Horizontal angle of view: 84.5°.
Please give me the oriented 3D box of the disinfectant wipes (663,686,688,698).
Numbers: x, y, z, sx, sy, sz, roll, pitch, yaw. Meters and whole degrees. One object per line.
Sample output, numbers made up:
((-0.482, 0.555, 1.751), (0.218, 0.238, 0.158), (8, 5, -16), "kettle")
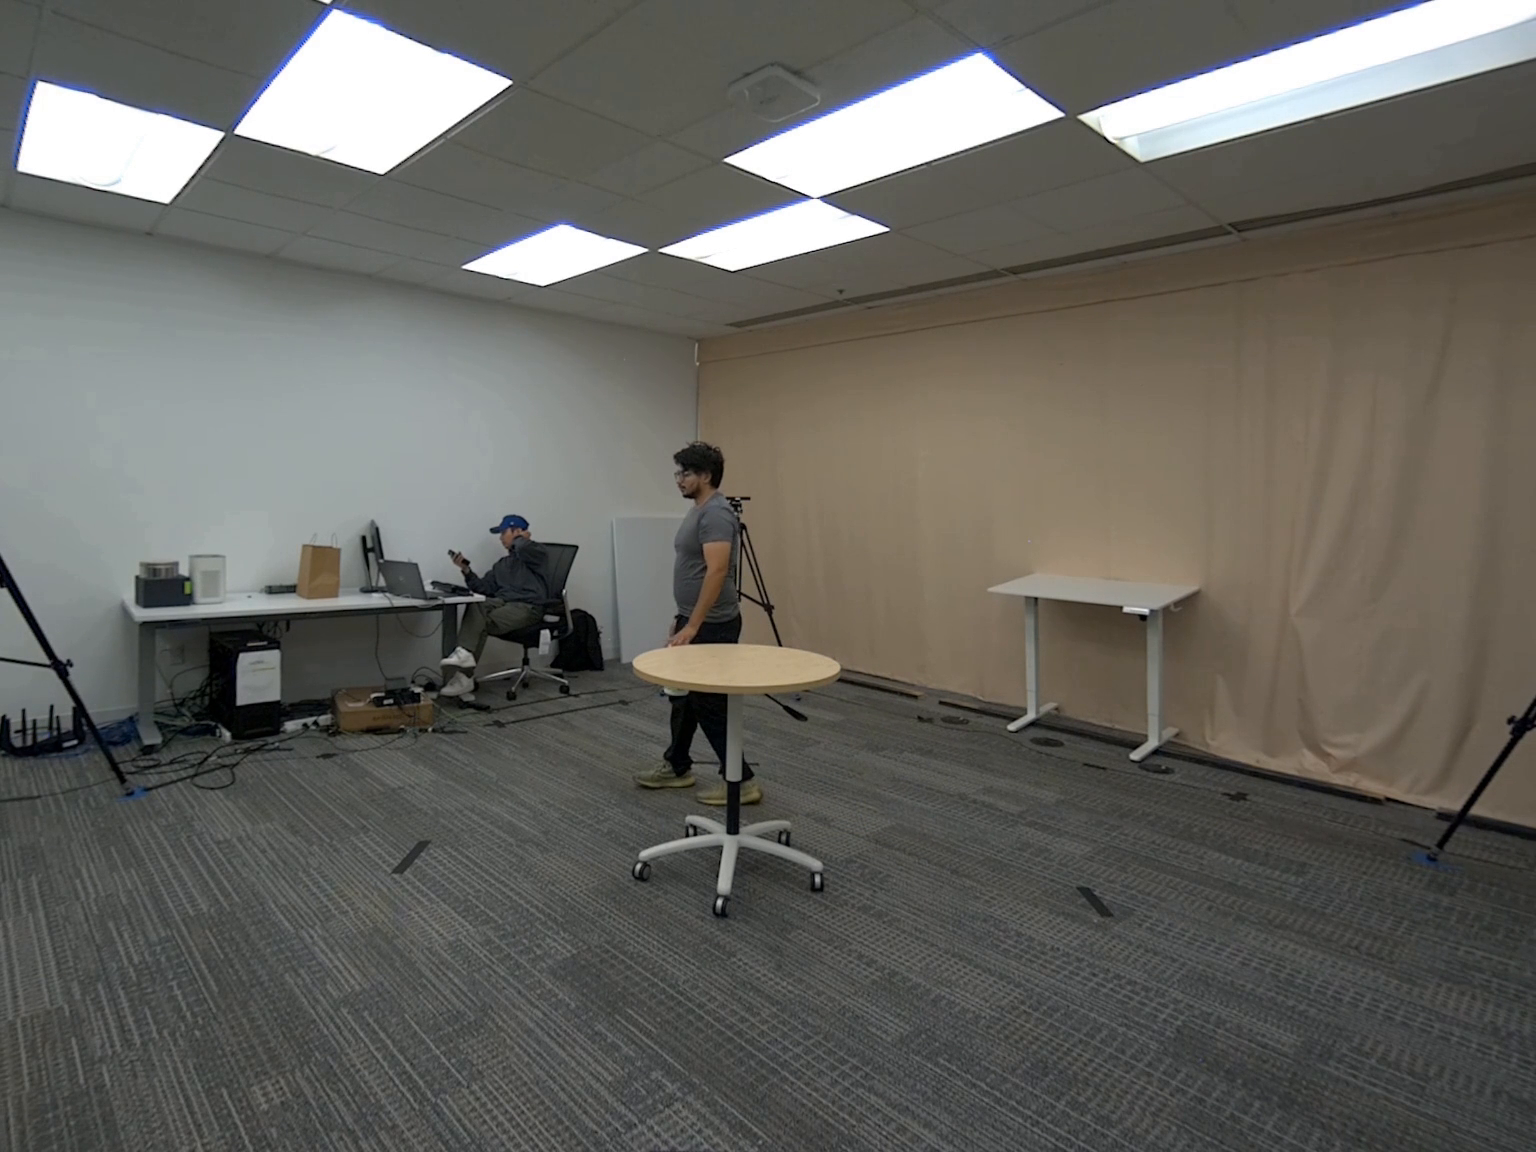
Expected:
((-0.402, 0.403, 3.633), (0.117, 0.216, 0.118), (4, 7, -2), "disinfectant wipes")
